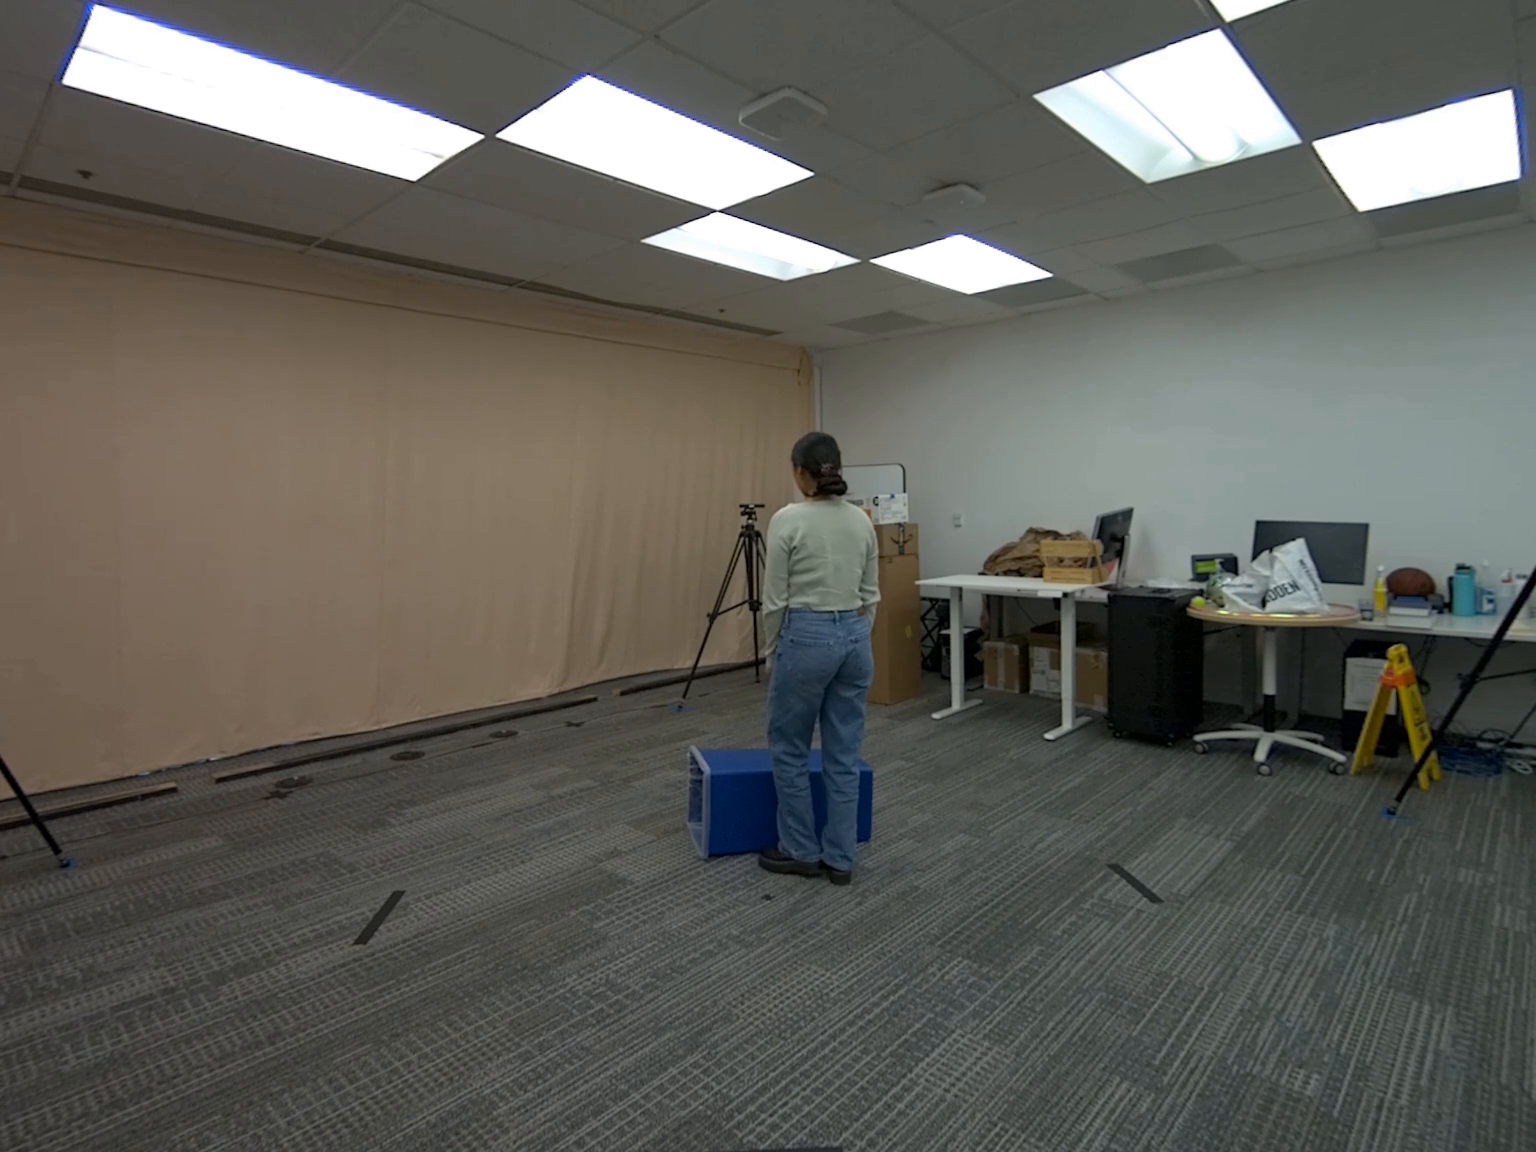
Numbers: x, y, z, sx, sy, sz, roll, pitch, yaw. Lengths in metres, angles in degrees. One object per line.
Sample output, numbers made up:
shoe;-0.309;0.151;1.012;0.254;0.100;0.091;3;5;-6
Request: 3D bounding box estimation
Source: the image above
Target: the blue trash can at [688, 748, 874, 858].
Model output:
blue trash can;0.044;0.913;3.517;0.705;0.377;0.379;0;4;-12
